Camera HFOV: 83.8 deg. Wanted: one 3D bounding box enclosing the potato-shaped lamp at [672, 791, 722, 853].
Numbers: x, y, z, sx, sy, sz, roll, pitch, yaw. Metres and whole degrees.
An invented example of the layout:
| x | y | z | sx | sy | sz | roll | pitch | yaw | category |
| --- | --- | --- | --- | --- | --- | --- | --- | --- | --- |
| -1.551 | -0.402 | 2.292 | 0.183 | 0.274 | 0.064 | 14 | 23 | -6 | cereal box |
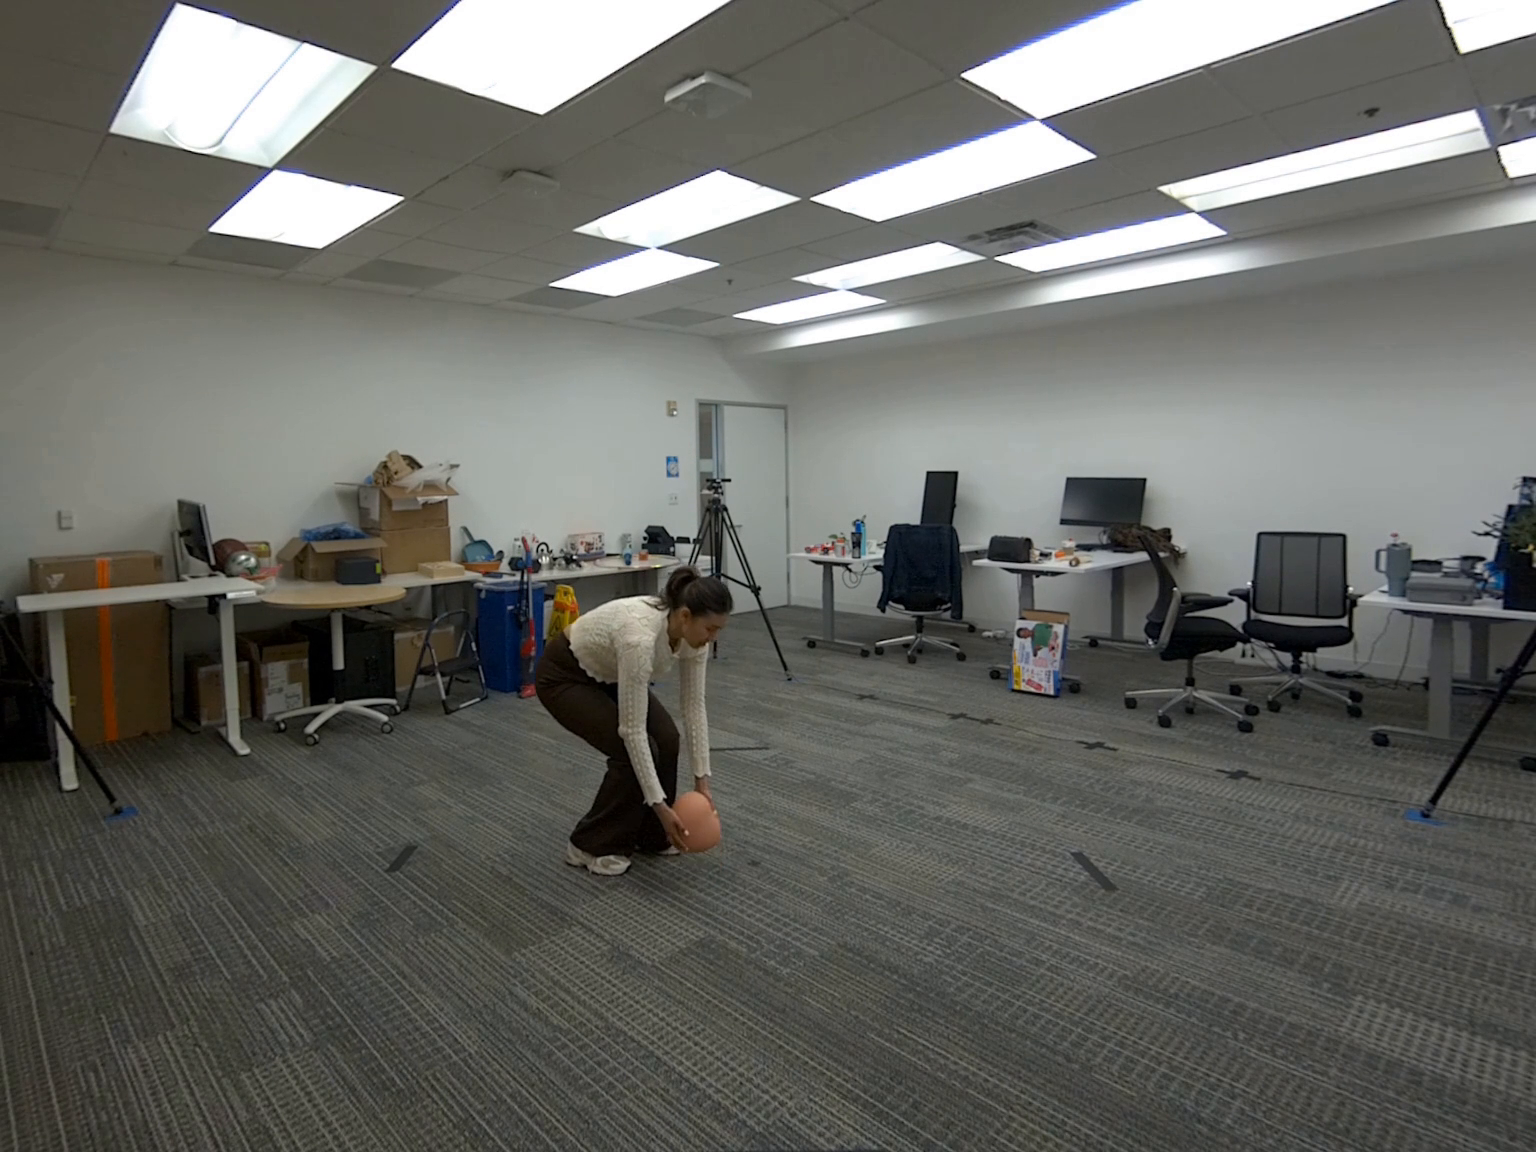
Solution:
| x | y | z | sx | sy | sz | roll | pitch | yaw | category |
| --- | --- | --- | --- | --- | --- | --- | --- | --- | --- |
| -0.256 | 0.836 | 2.959 | 0.169 | 0.197 | 0.167 | -3 | 6 | 42 | potato-shaped lamp |
